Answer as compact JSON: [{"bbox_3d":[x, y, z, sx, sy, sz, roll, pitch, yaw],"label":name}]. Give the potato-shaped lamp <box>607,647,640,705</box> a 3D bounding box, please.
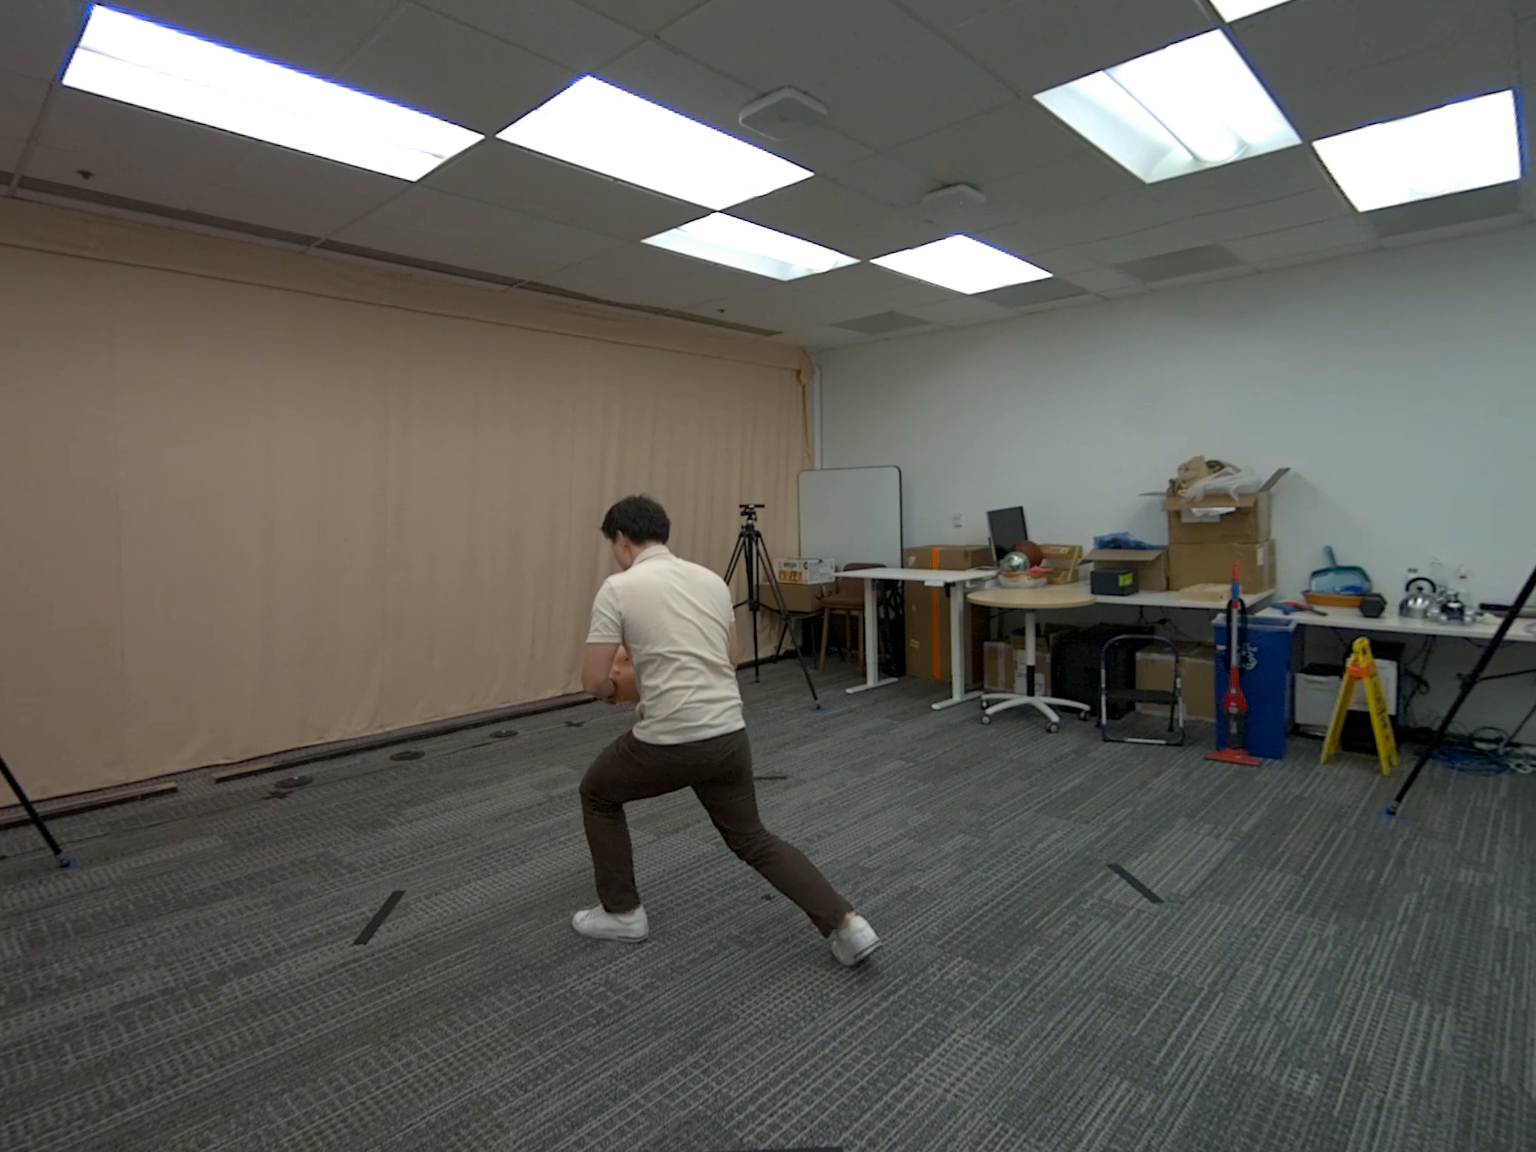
[{"bbox_3d":[-0.502,0.336,2.881,0.160,0.198,0.176,-1,0,-29],"label":"potato-shaped lamp"}]
